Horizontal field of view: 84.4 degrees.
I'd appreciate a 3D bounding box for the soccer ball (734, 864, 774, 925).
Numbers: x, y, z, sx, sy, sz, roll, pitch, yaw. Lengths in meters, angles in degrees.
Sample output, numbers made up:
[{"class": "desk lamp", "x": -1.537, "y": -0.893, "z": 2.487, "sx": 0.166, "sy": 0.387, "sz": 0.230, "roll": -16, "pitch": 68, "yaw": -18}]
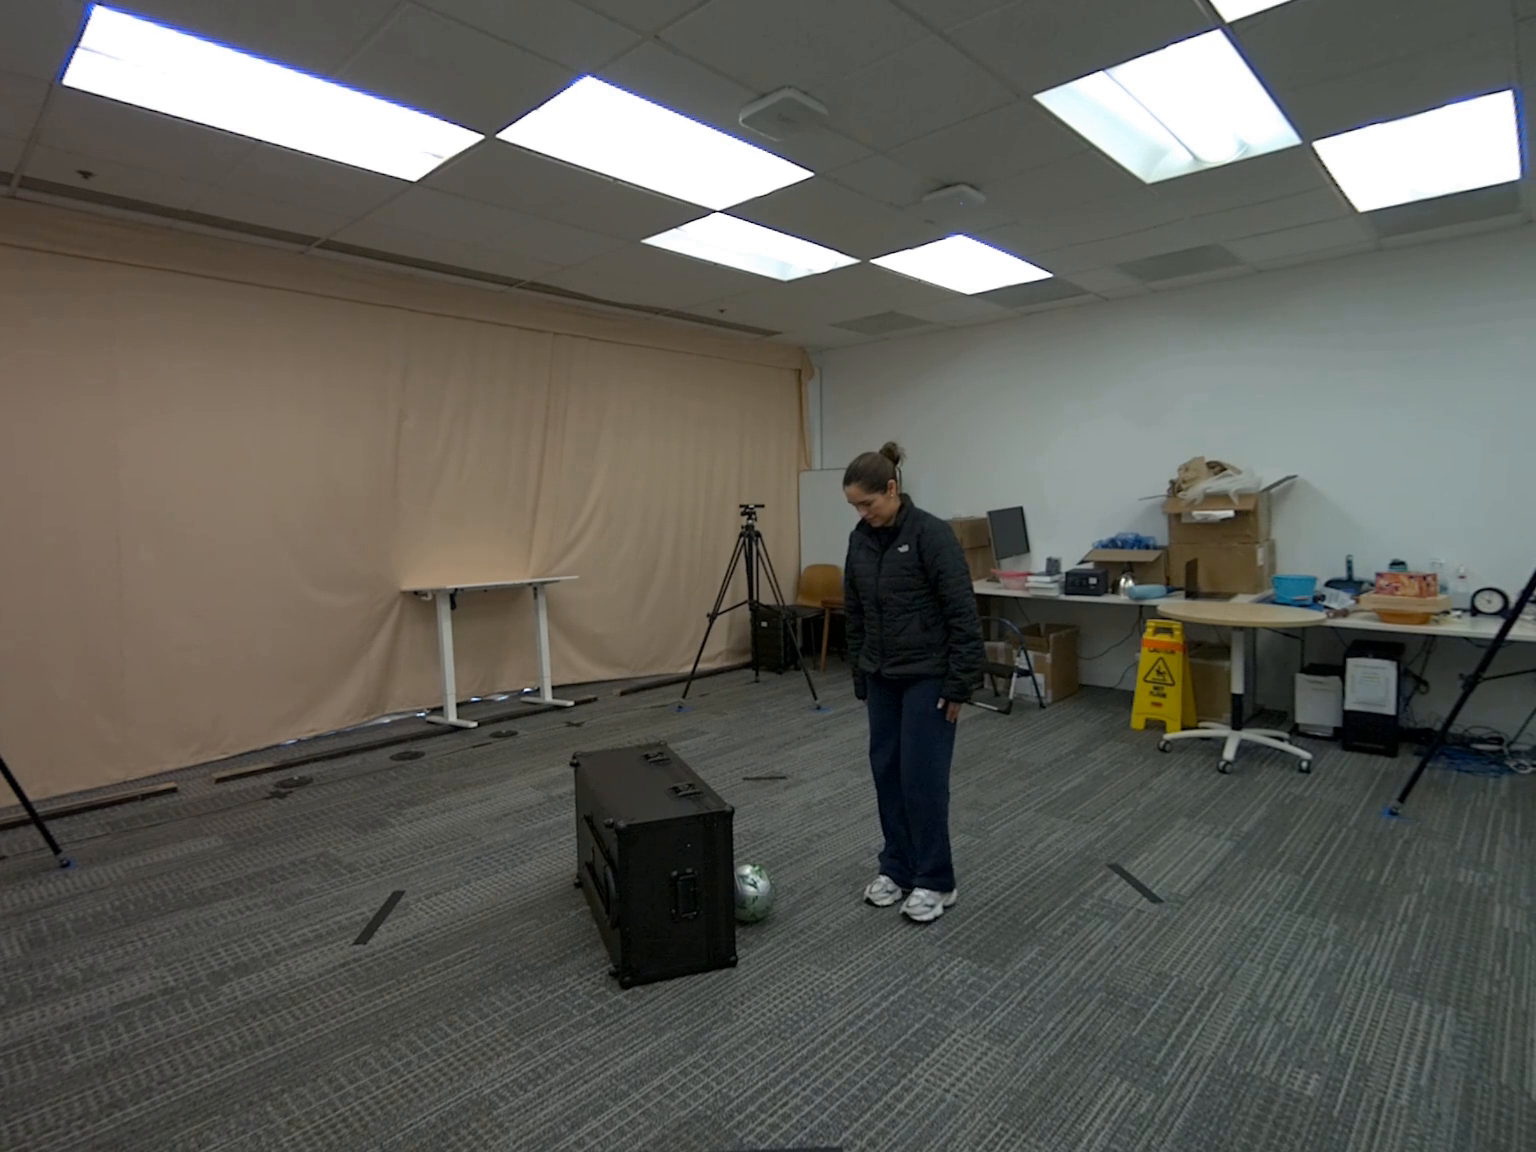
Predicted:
[{"class": "soccer ball", "x": -0.064, "y": 1.068, "z": 2.822, "sx": 0.187, "sy": 0.187, "sz": 0.188, "roll": -1, "pitch": 4, "yaw": -2}]
